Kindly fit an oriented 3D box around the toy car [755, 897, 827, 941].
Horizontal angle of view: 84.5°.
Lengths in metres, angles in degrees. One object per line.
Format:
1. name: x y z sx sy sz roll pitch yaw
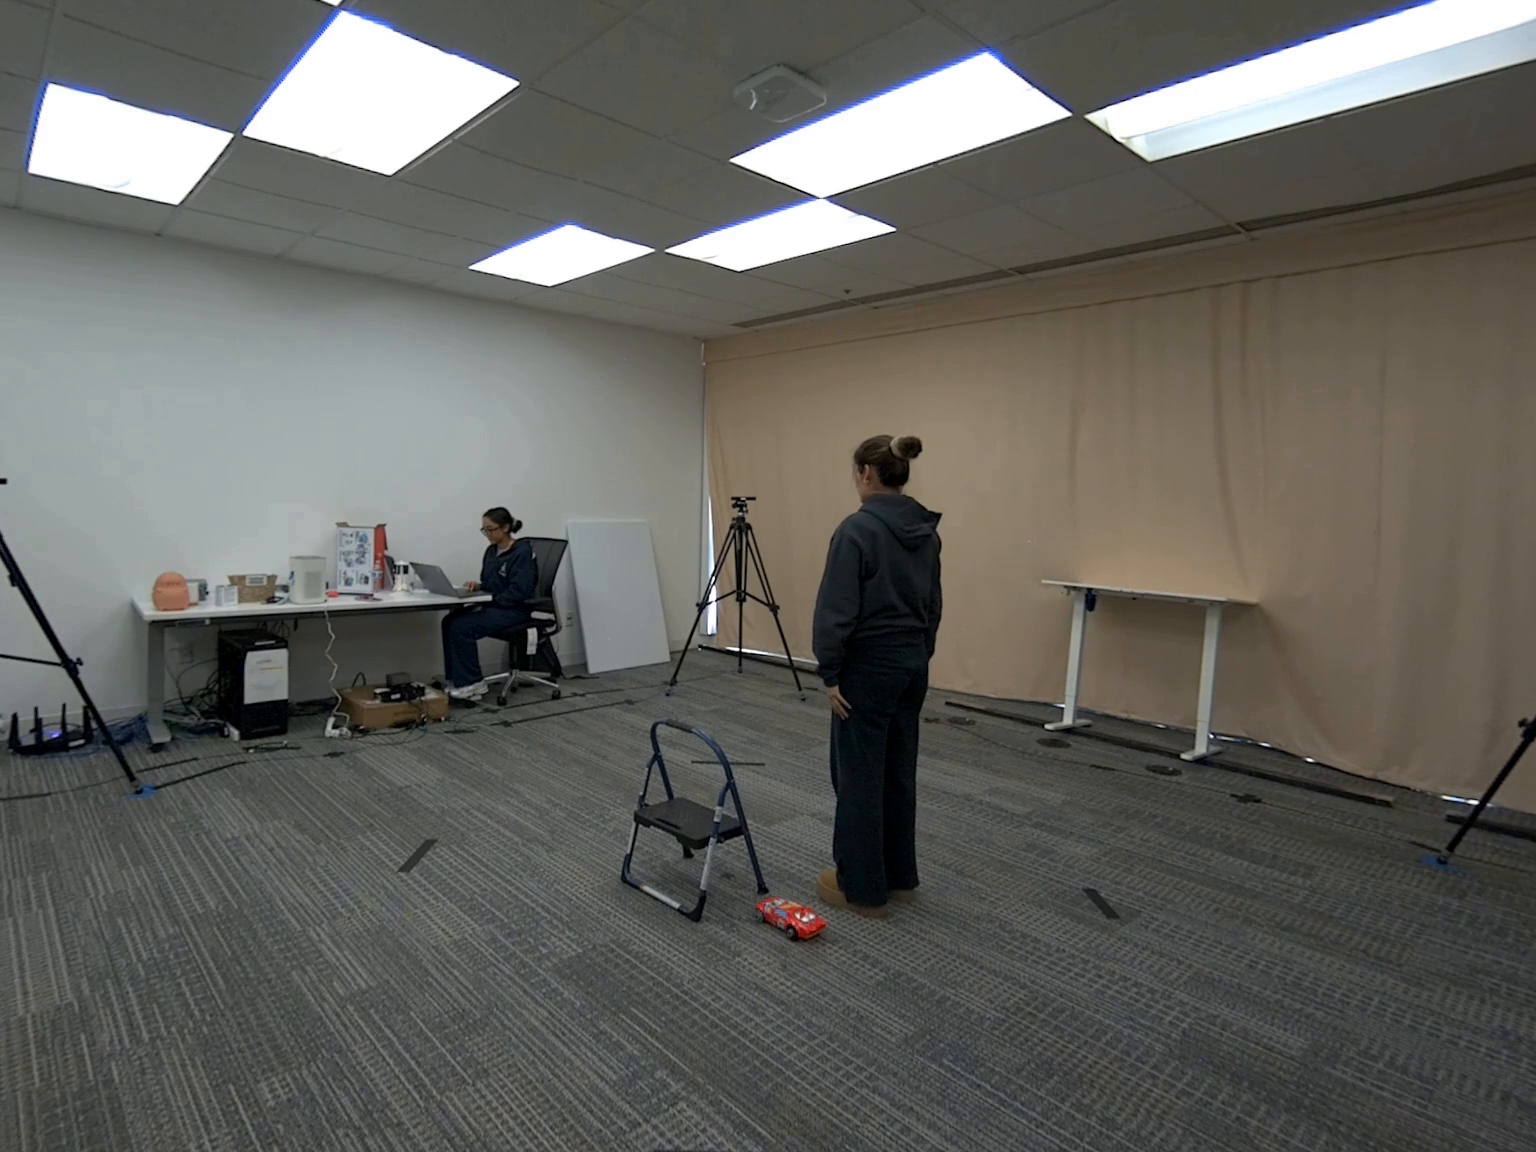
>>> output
1. toy car: 0.071 1.117 2.738 0.127 0.083 0.259 -3 -5 -44
